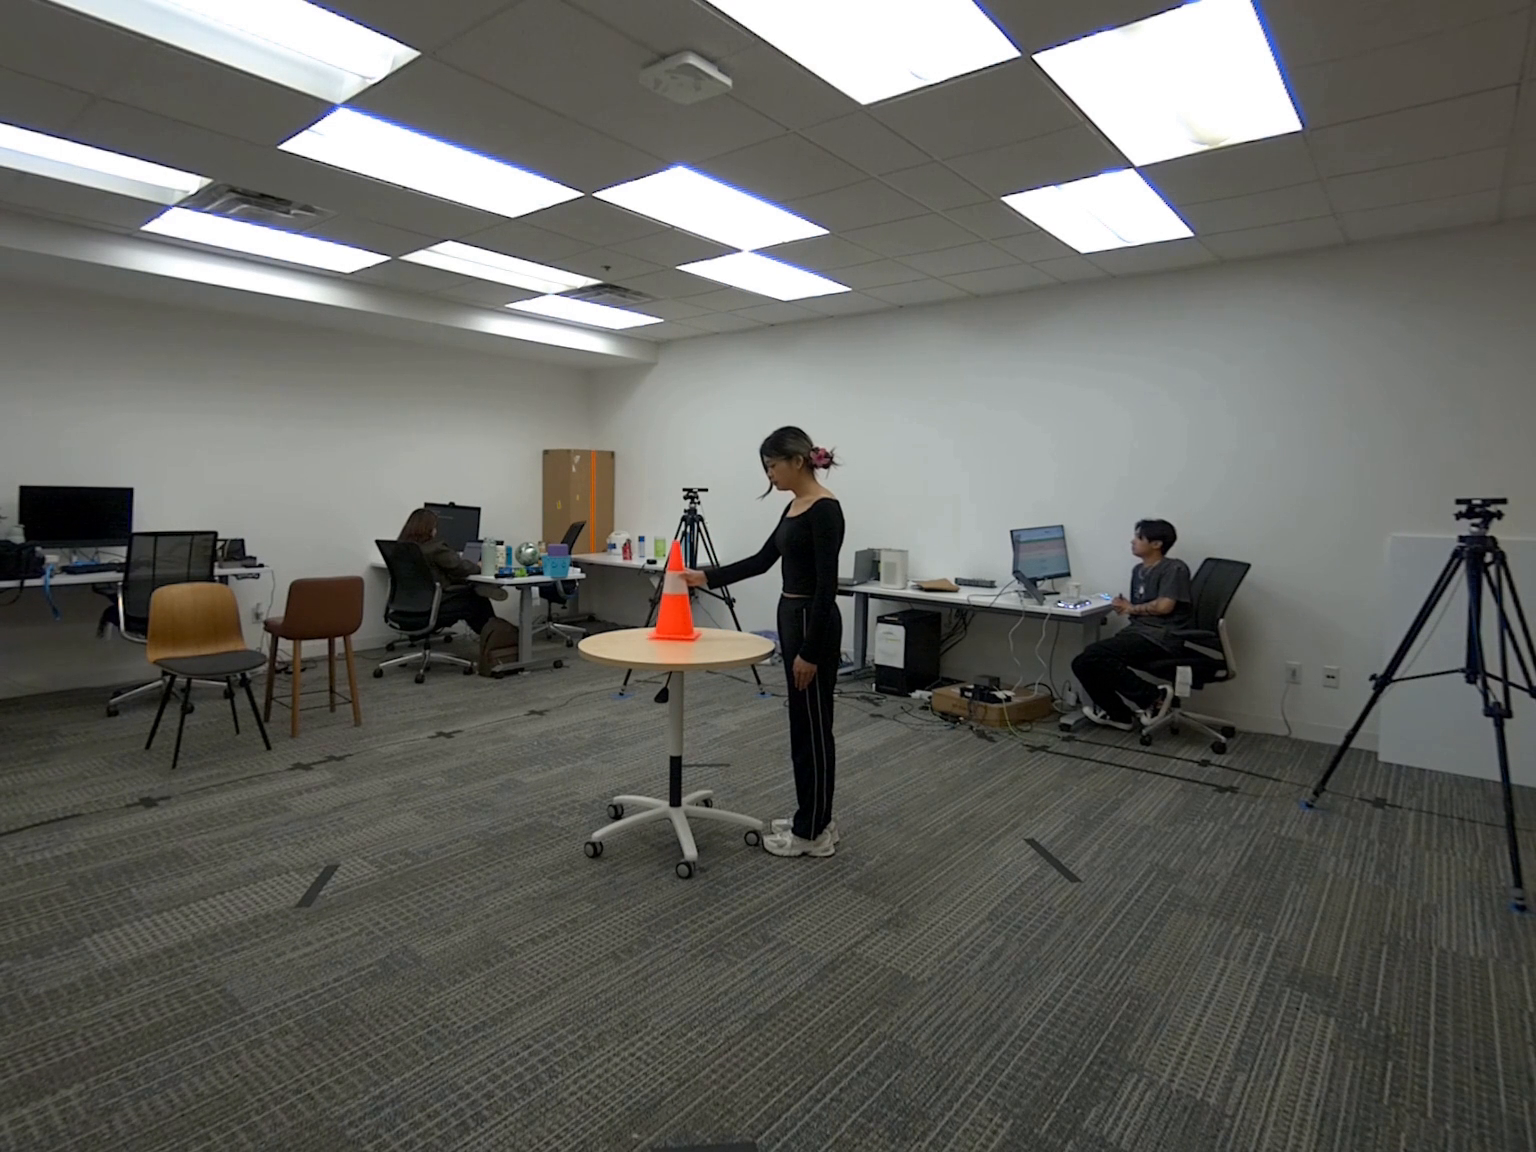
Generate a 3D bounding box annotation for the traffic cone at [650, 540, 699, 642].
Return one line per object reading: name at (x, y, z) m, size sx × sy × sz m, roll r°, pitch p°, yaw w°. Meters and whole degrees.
traffic cone at (-0.385, 0.045, 3.478) m, size 0.204 × 0.383 × 0.204 m, roll 4°, pitch 1°, yaw 3°
